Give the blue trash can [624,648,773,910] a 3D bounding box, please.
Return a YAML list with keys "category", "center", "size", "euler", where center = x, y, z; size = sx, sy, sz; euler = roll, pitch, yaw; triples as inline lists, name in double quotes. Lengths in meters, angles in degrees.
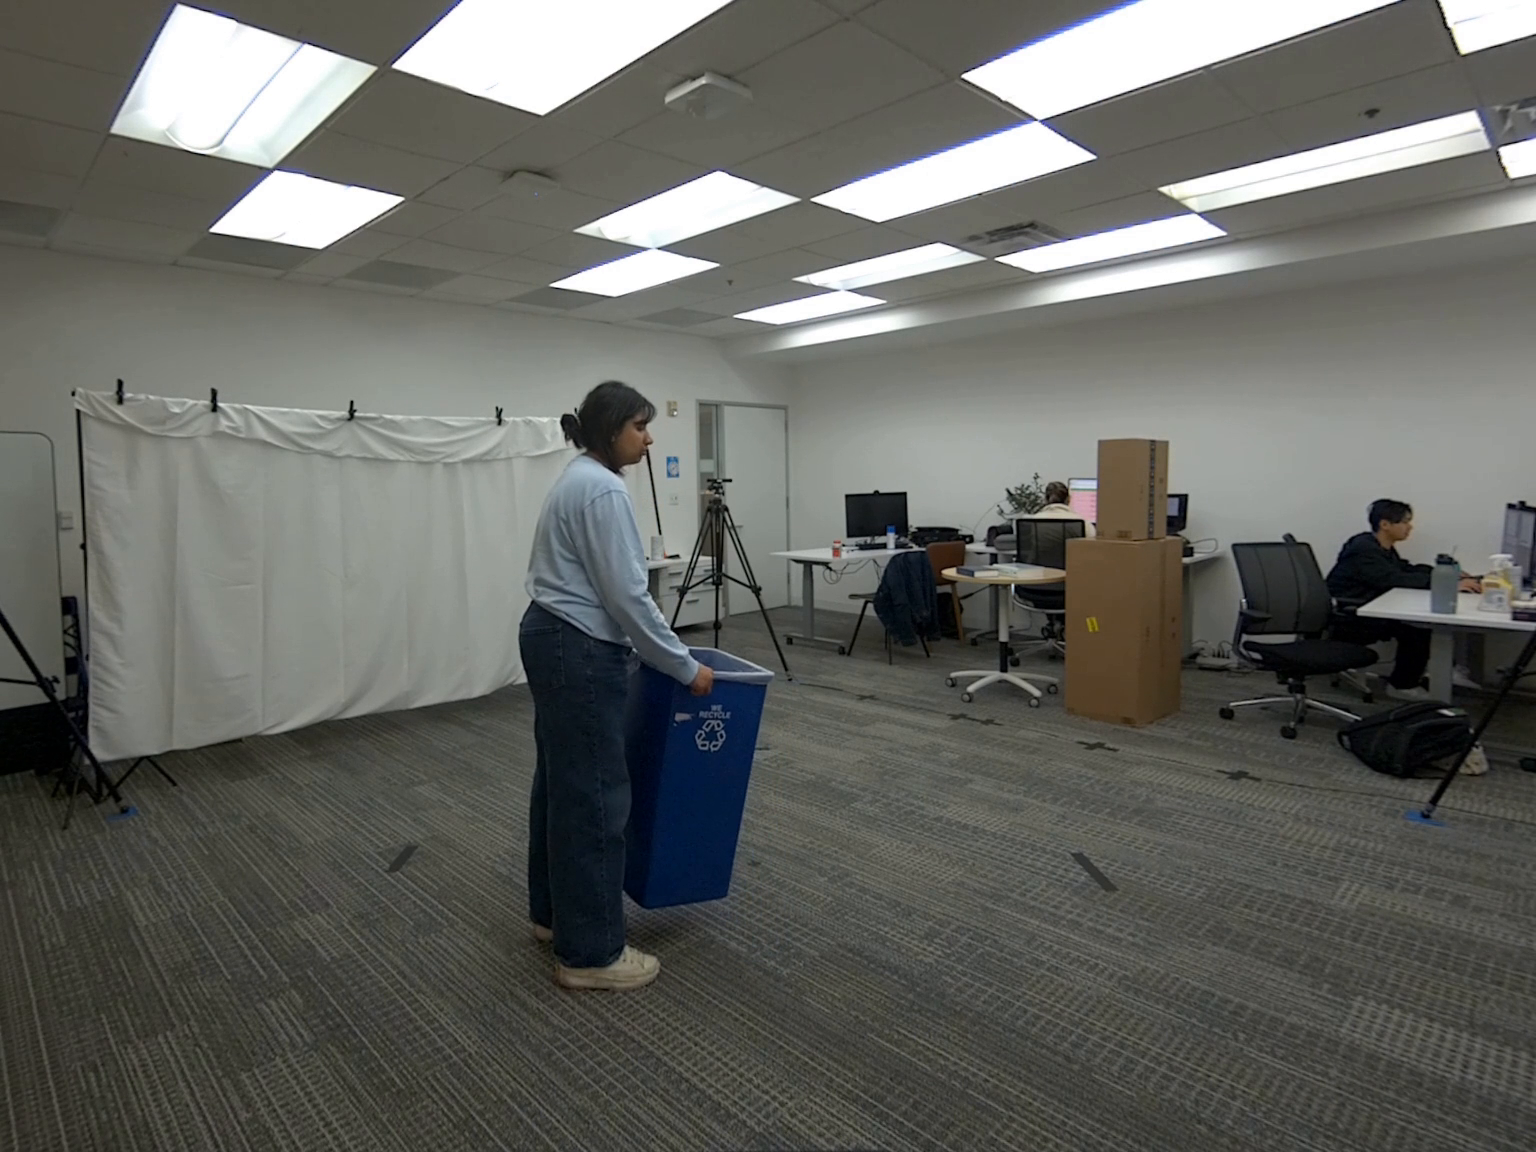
- category: "blue trash can"
  center: [-0.262, 0.611, 2.675]
  size: [0.363, 0.712, 0.390]
  euler: [7, 3, -34]
